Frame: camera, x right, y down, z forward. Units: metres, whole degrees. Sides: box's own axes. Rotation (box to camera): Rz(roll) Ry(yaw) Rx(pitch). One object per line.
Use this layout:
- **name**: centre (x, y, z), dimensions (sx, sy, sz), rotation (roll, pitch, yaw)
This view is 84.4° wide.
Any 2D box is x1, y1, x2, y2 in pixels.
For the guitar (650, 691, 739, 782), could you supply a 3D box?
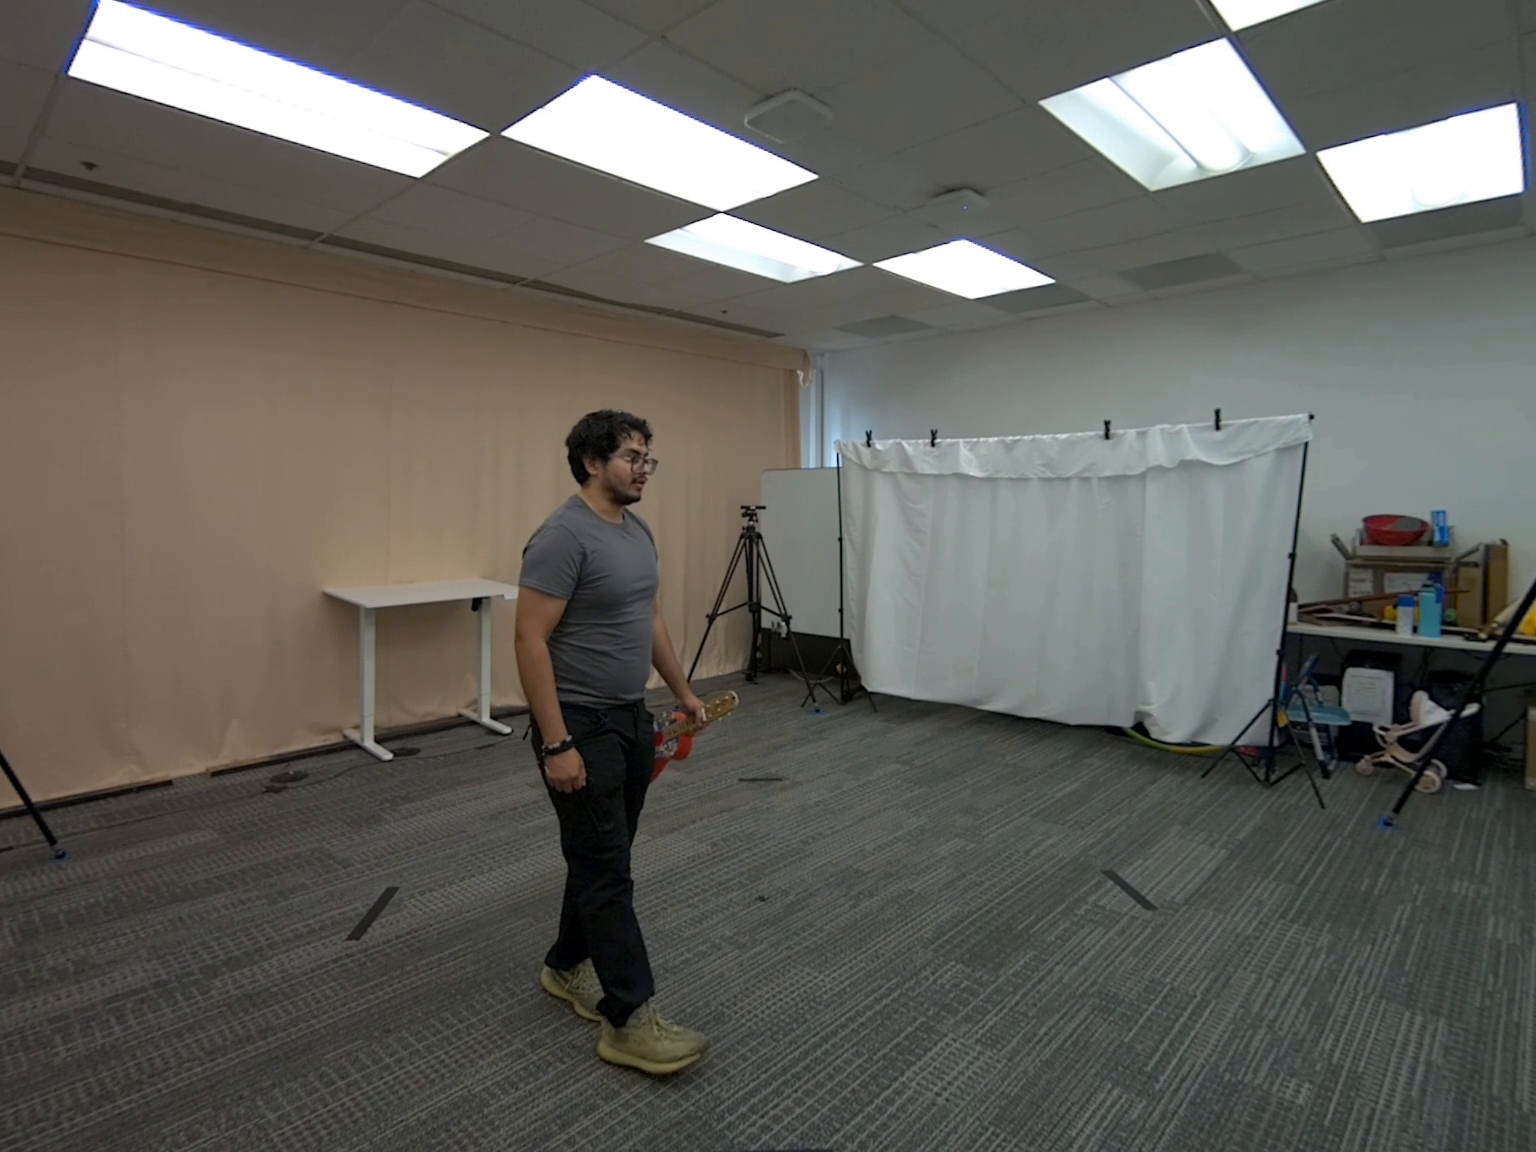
- **guitar**: centre (-0.256, 0.500, 2.547), dimensions (0.508, 0.196, 0.068), rotation (-23, -30, 33)
